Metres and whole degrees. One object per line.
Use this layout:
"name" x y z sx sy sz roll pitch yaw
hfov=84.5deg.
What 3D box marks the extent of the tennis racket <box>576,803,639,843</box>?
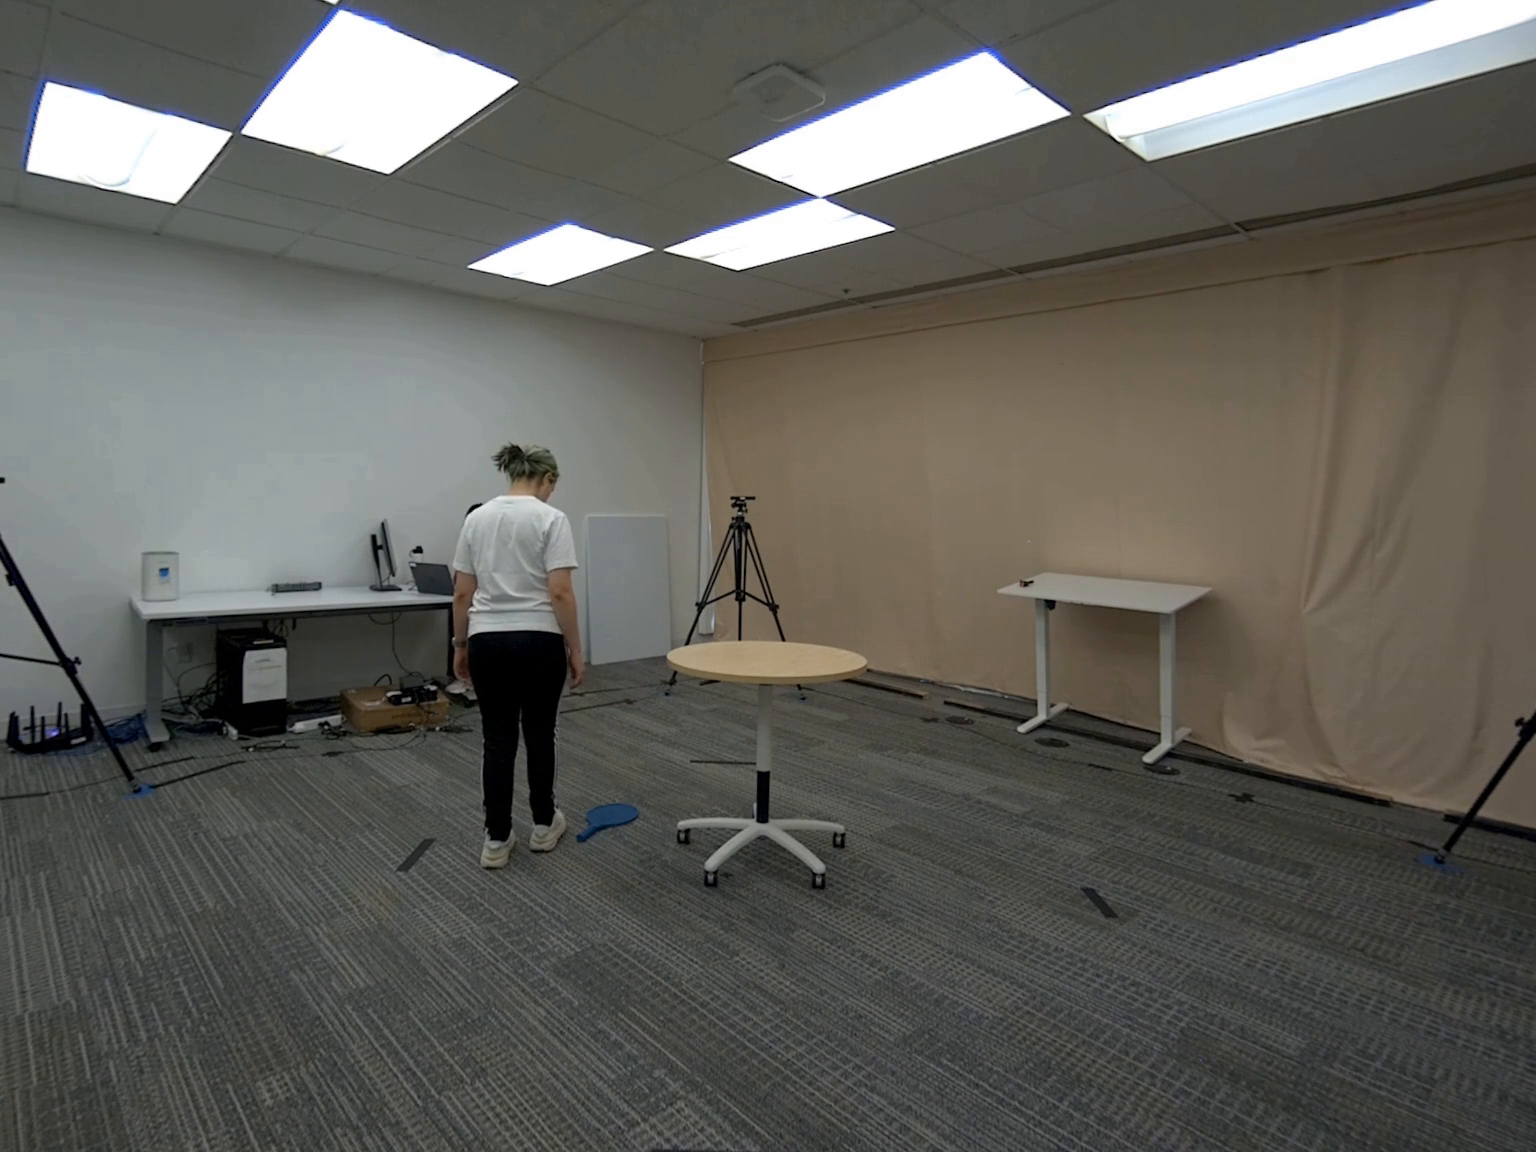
"tennis racket" -0.702 1.036 3.573 0.216 0.032 0.428 3 4 14
